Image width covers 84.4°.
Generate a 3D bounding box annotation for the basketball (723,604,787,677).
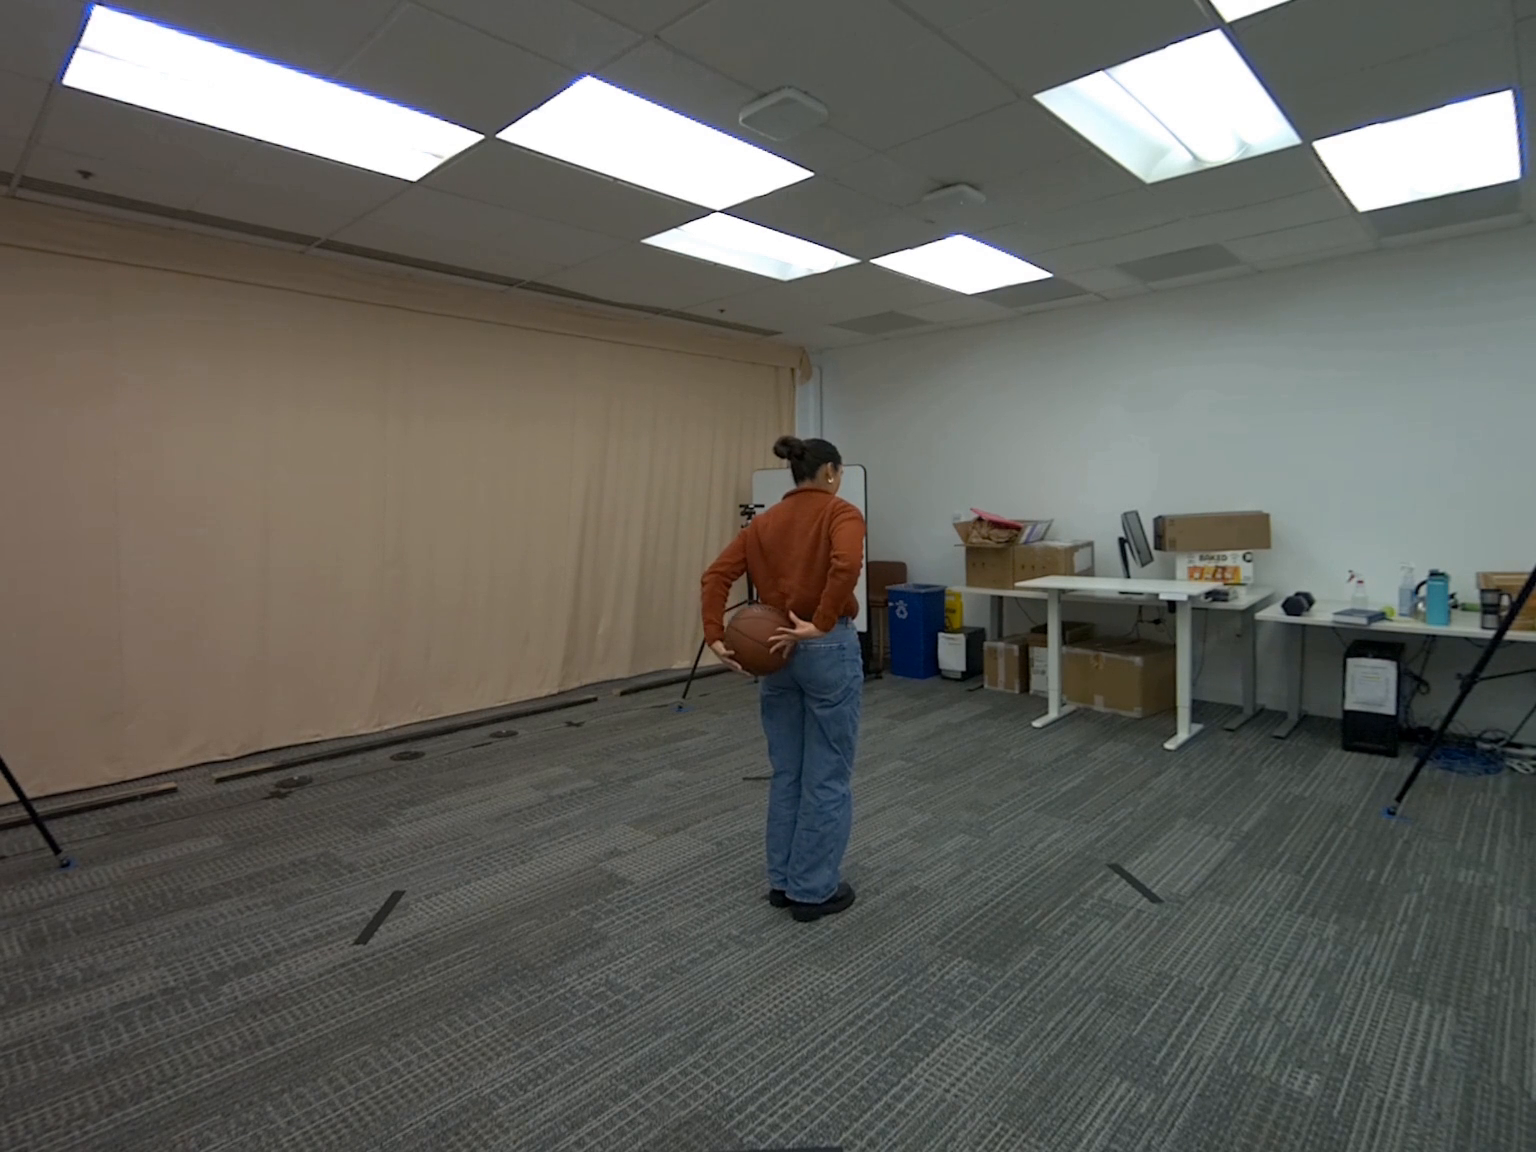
[{"bbox_3d":[-0.019,0.200,2.795,0.236,0.235,0.237,-1,4,-2],"label":"basketball"}]
